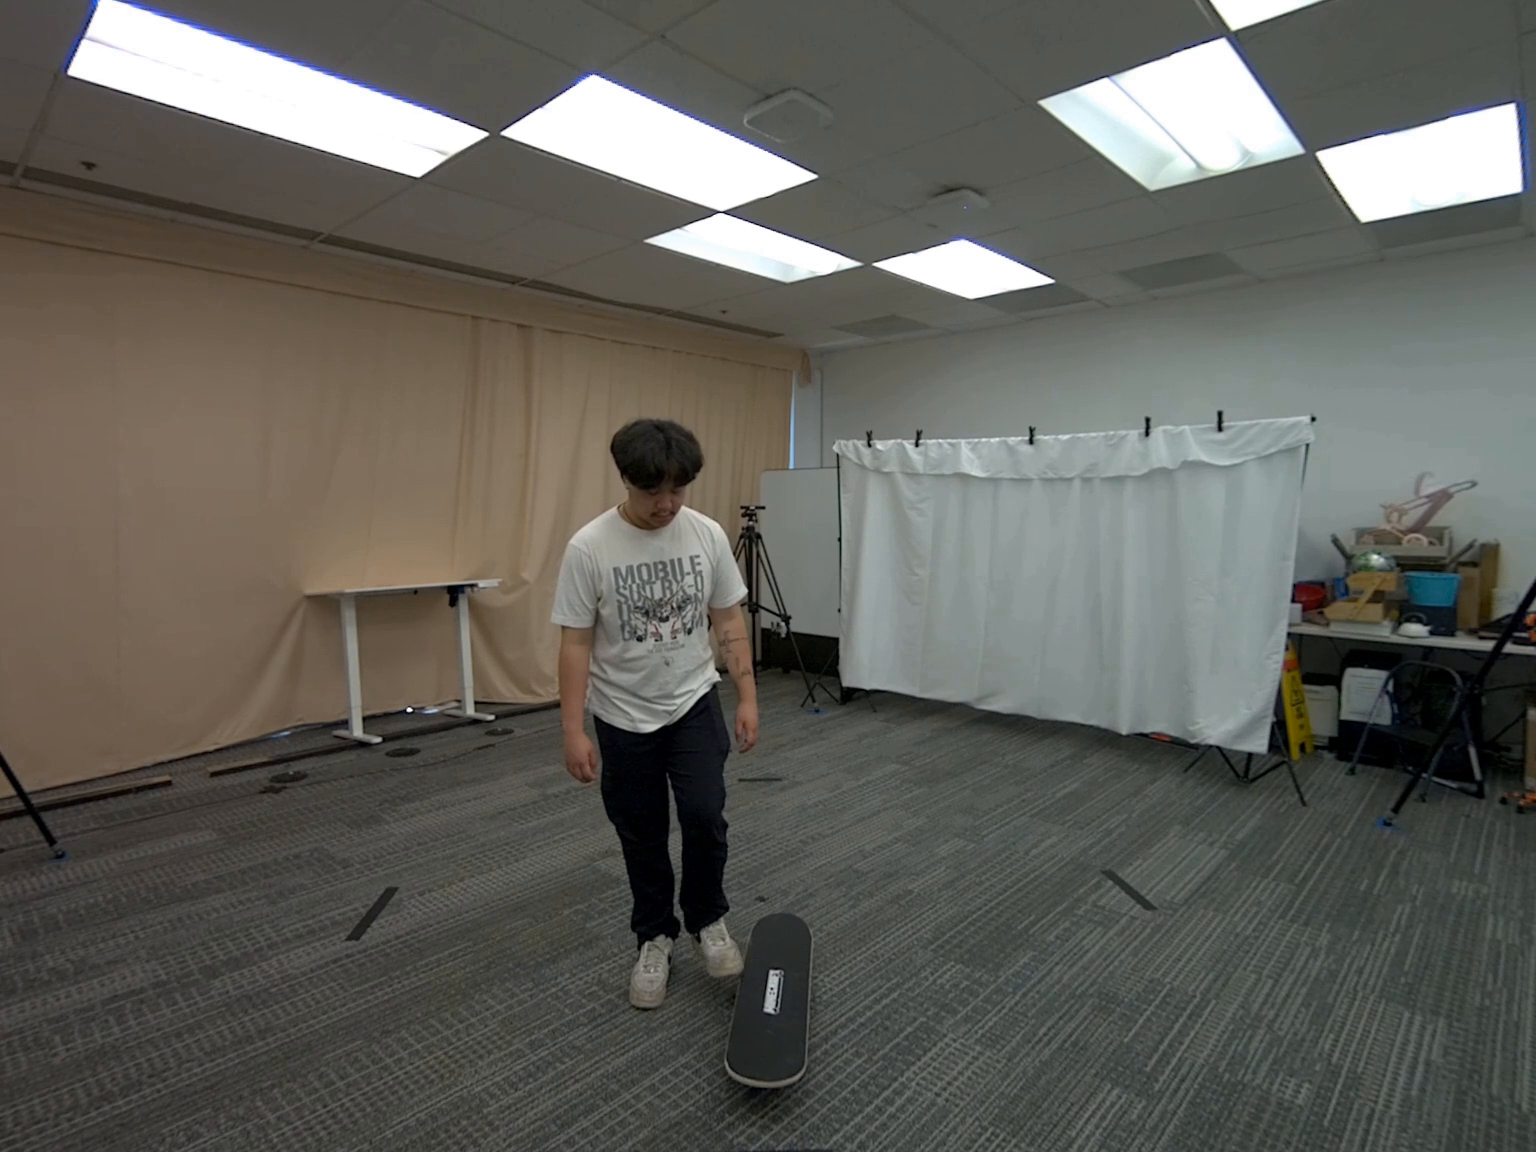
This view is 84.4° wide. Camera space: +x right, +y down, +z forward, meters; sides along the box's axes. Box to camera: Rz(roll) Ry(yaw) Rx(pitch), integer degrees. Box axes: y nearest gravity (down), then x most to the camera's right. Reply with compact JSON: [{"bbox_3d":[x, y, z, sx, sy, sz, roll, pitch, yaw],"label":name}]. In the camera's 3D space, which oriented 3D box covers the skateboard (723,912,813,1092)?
[{"bbox_3d":[0.021,1.146,2.273,0.195,0.110,0.782,1,5,4],"label":"skateboard"}]
